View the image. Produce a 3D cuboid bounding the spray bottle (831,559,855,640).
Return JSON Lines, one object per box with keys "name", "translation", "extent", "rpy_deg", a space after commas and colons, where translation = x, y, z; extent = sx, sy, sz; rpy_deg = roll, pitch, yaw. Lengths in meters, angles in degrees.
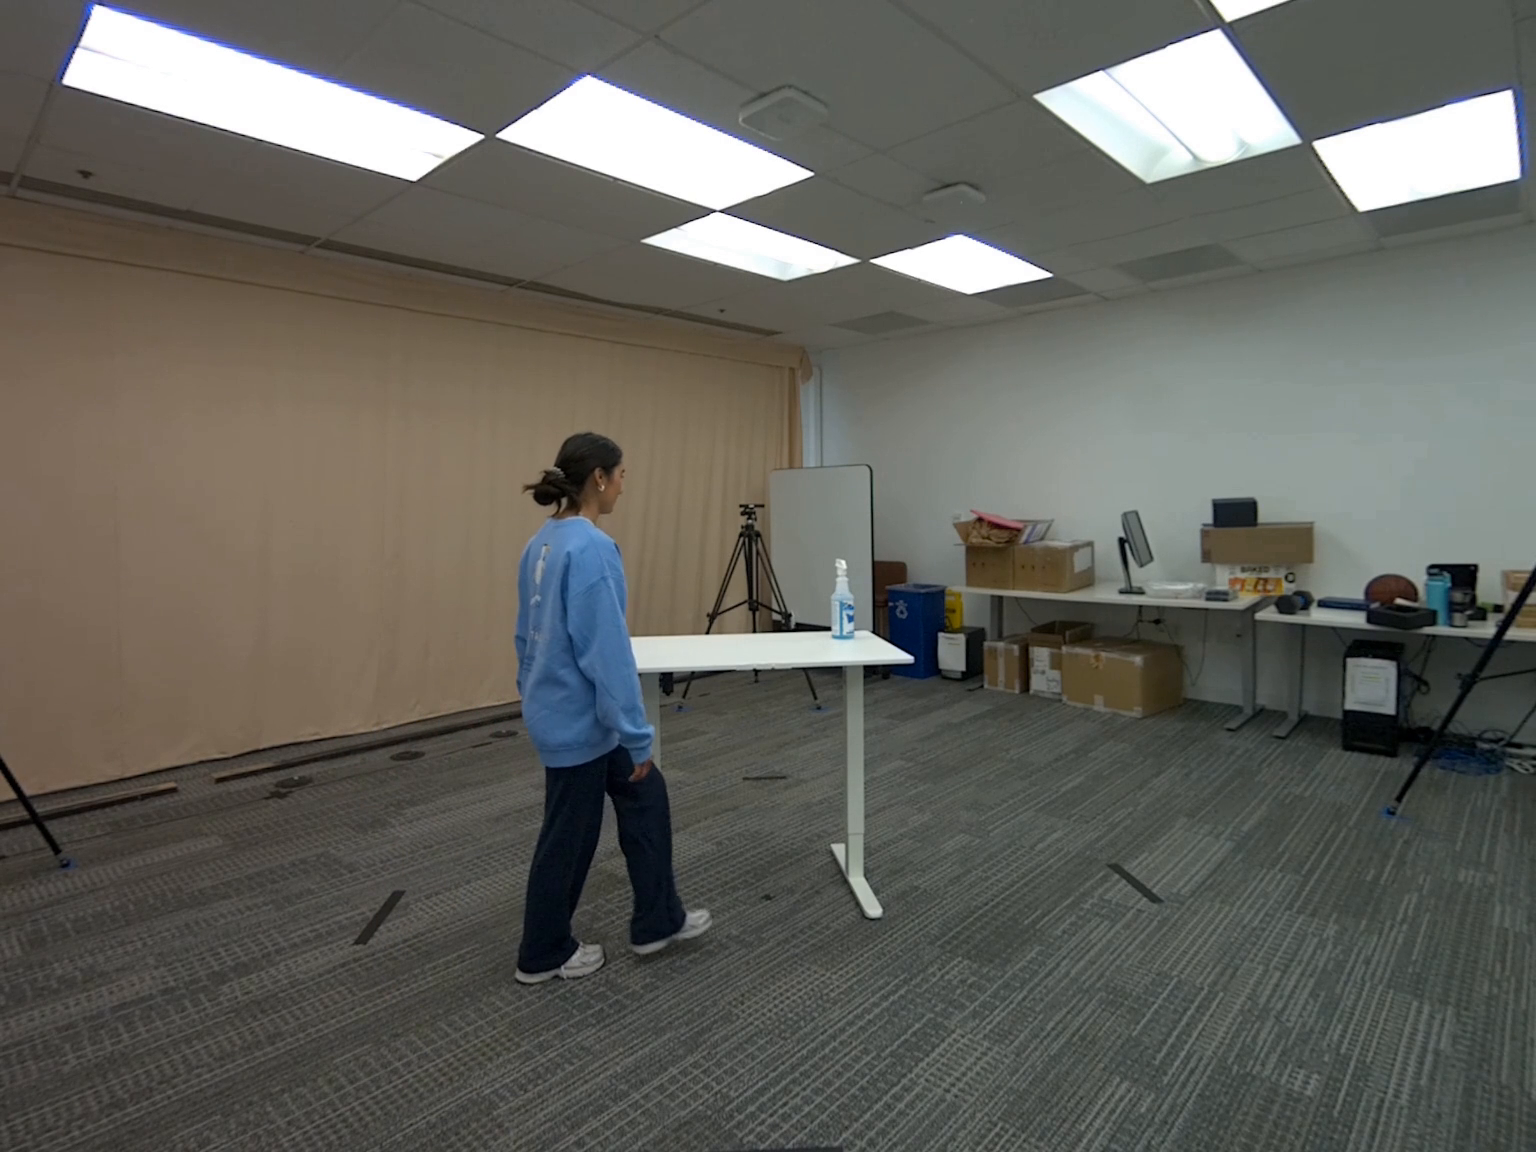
{"name": "spray bottle", "translation": [0.290, 0.089, 3.185], "extent": [0.088, 0.297, 0.089], "rpy_deg": [-1, 3, 12]}
